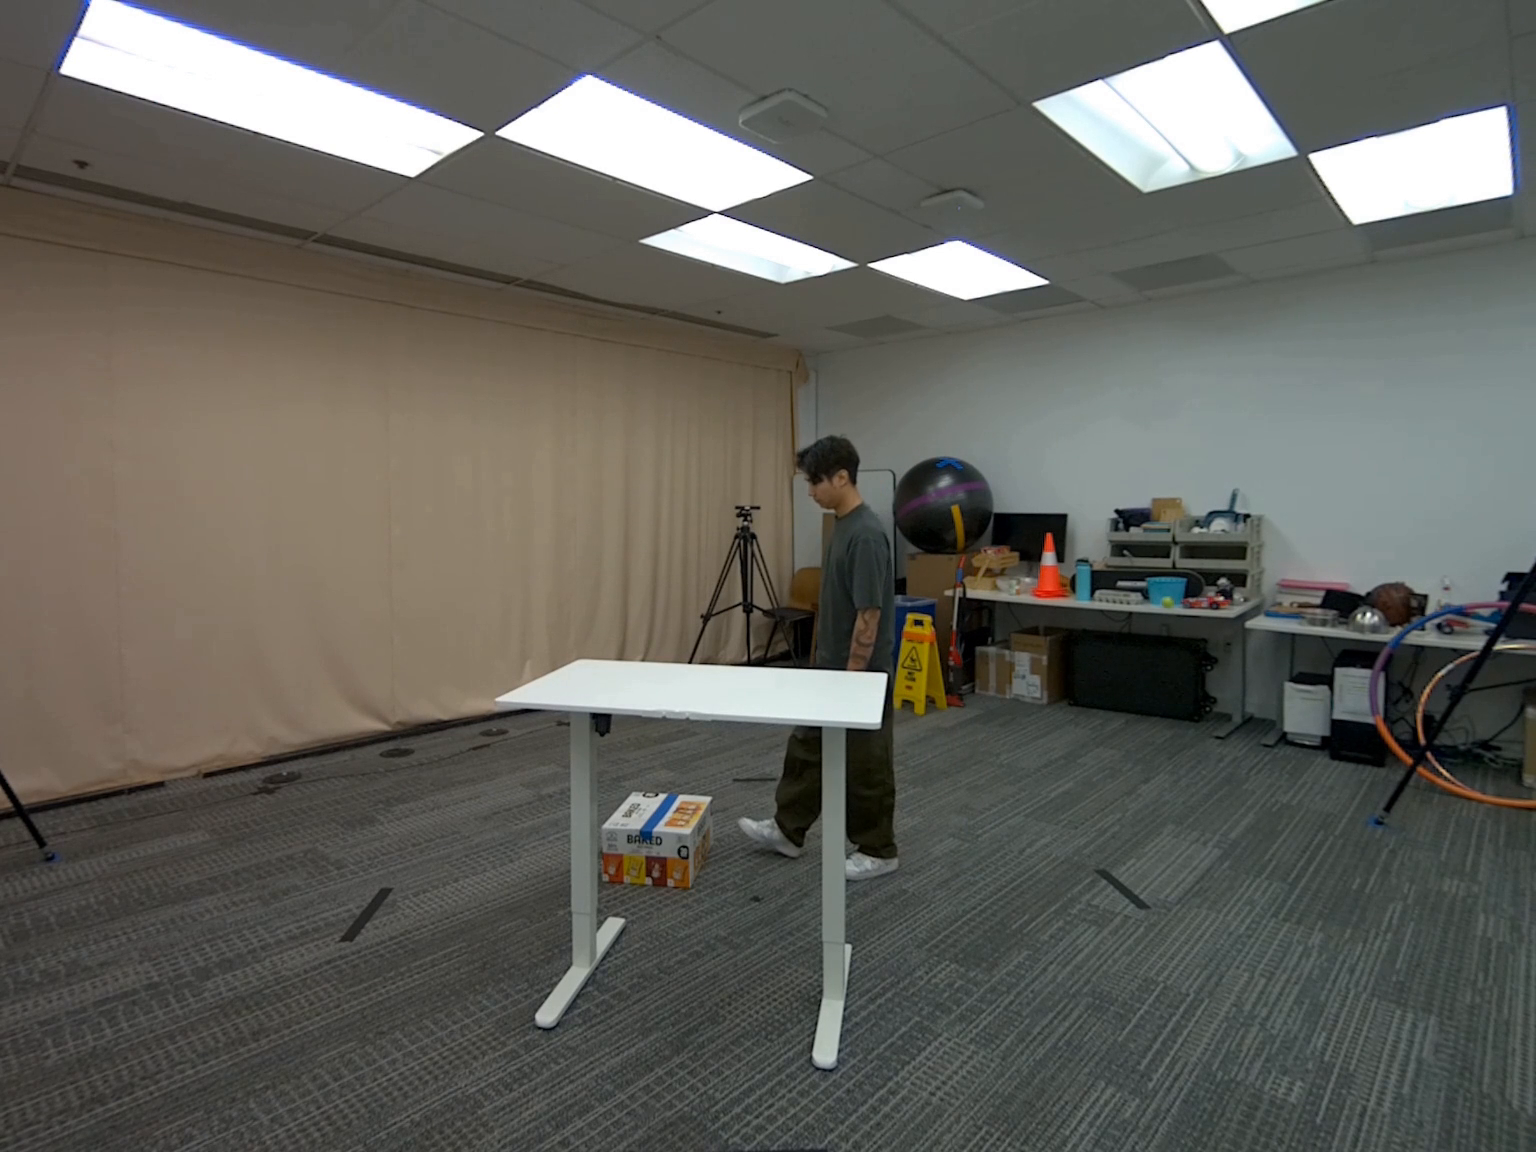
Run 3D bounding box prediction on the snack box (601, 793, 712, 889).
[{"bbox_3d":[-0.422,1.023,3.290,0.344,0.205,0.401,0,4,10],"label":"snack box"}]
